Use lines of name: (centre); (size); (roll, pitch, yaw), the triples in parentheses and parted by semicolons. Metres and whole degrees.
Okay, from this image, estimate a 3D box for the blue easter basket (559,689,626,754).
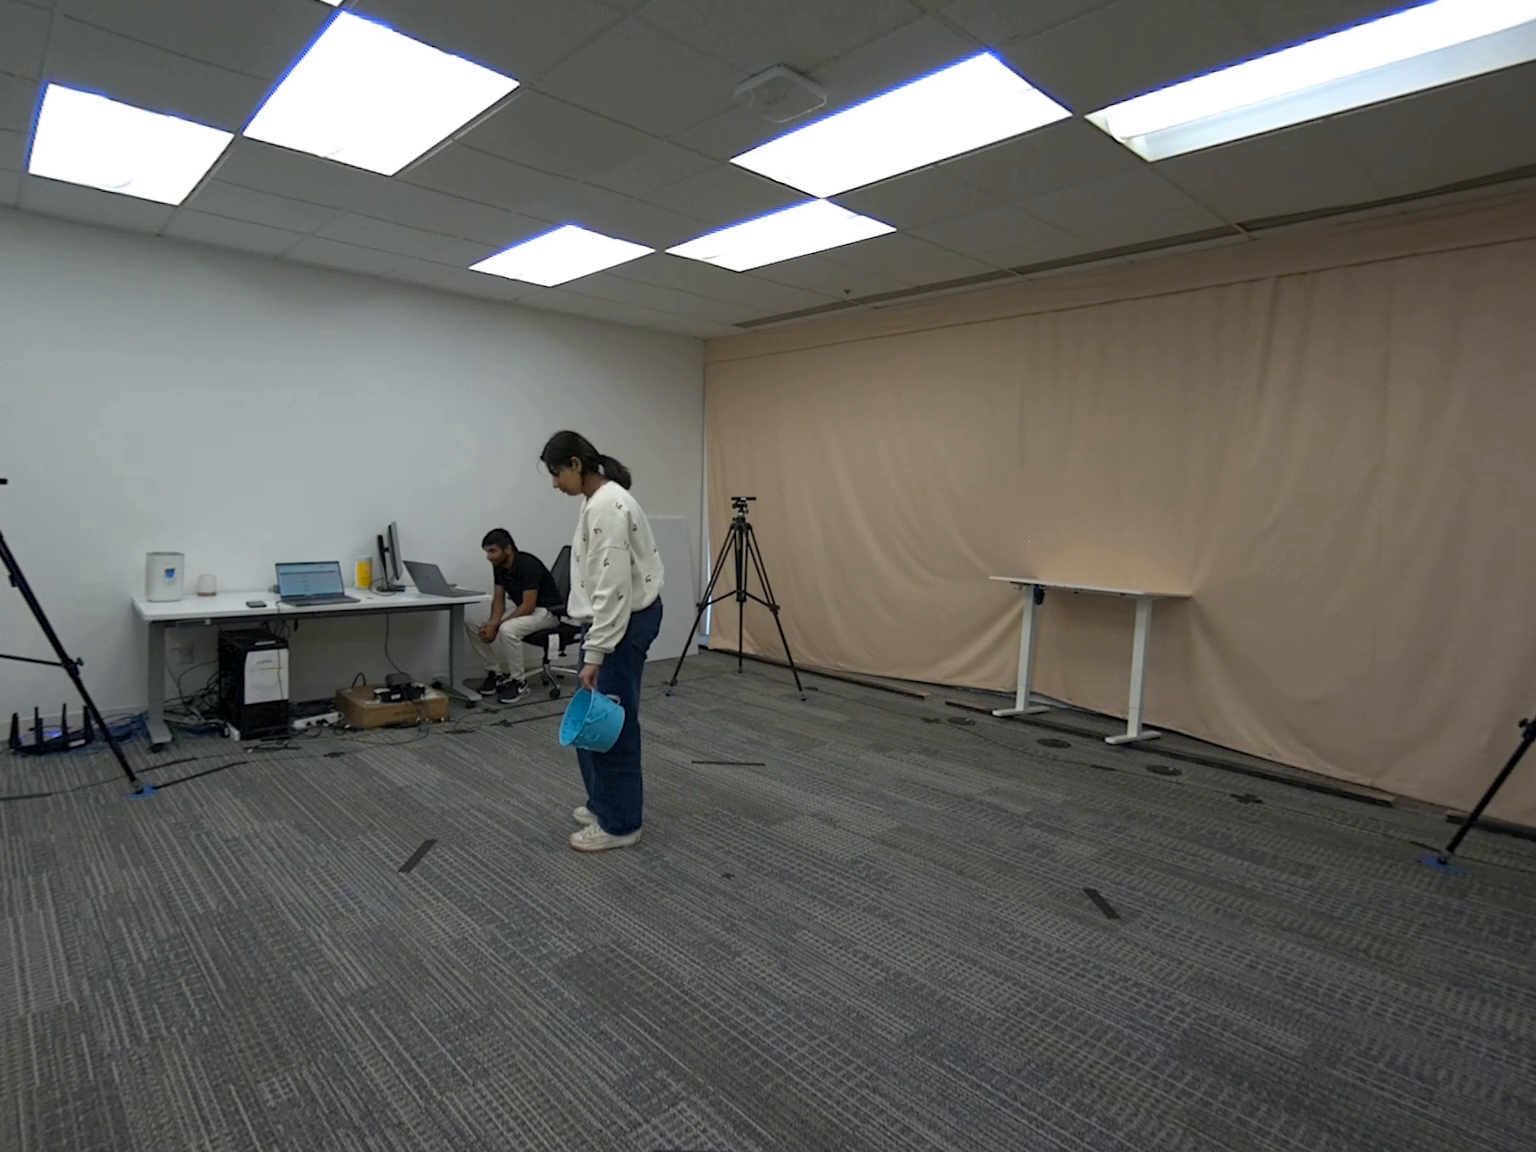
blue easter basket: (-0.663, 0.539, 3.081); (0.152, 0.244, 0.249); (28, -8, -27)
